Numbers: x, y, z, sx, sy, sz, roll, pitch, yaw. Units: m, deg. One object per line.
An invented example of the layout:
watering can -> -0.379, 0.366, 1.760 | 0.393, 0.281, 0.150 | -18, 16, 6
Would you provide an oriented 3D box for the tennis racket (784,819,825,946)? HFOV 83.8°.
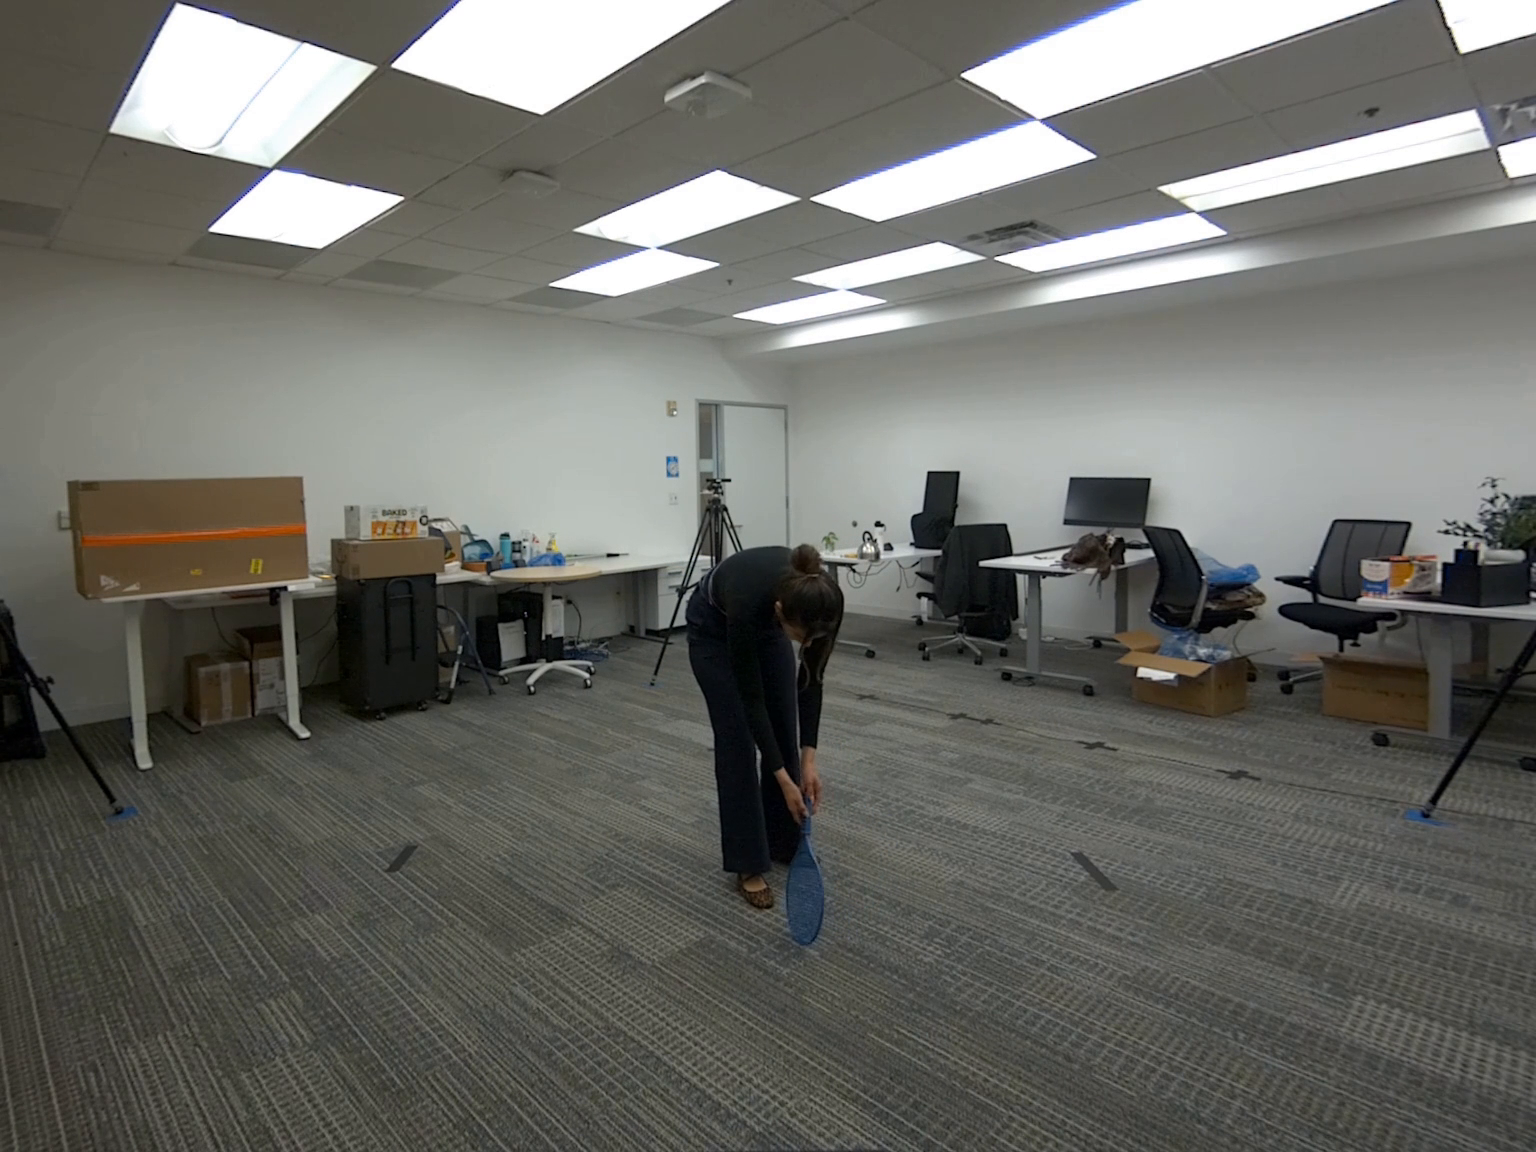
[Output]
tennis racket -> 0.112, 0.897, 2.610 | 0.031, 0.438, 0.216 | 12, -17, -25
